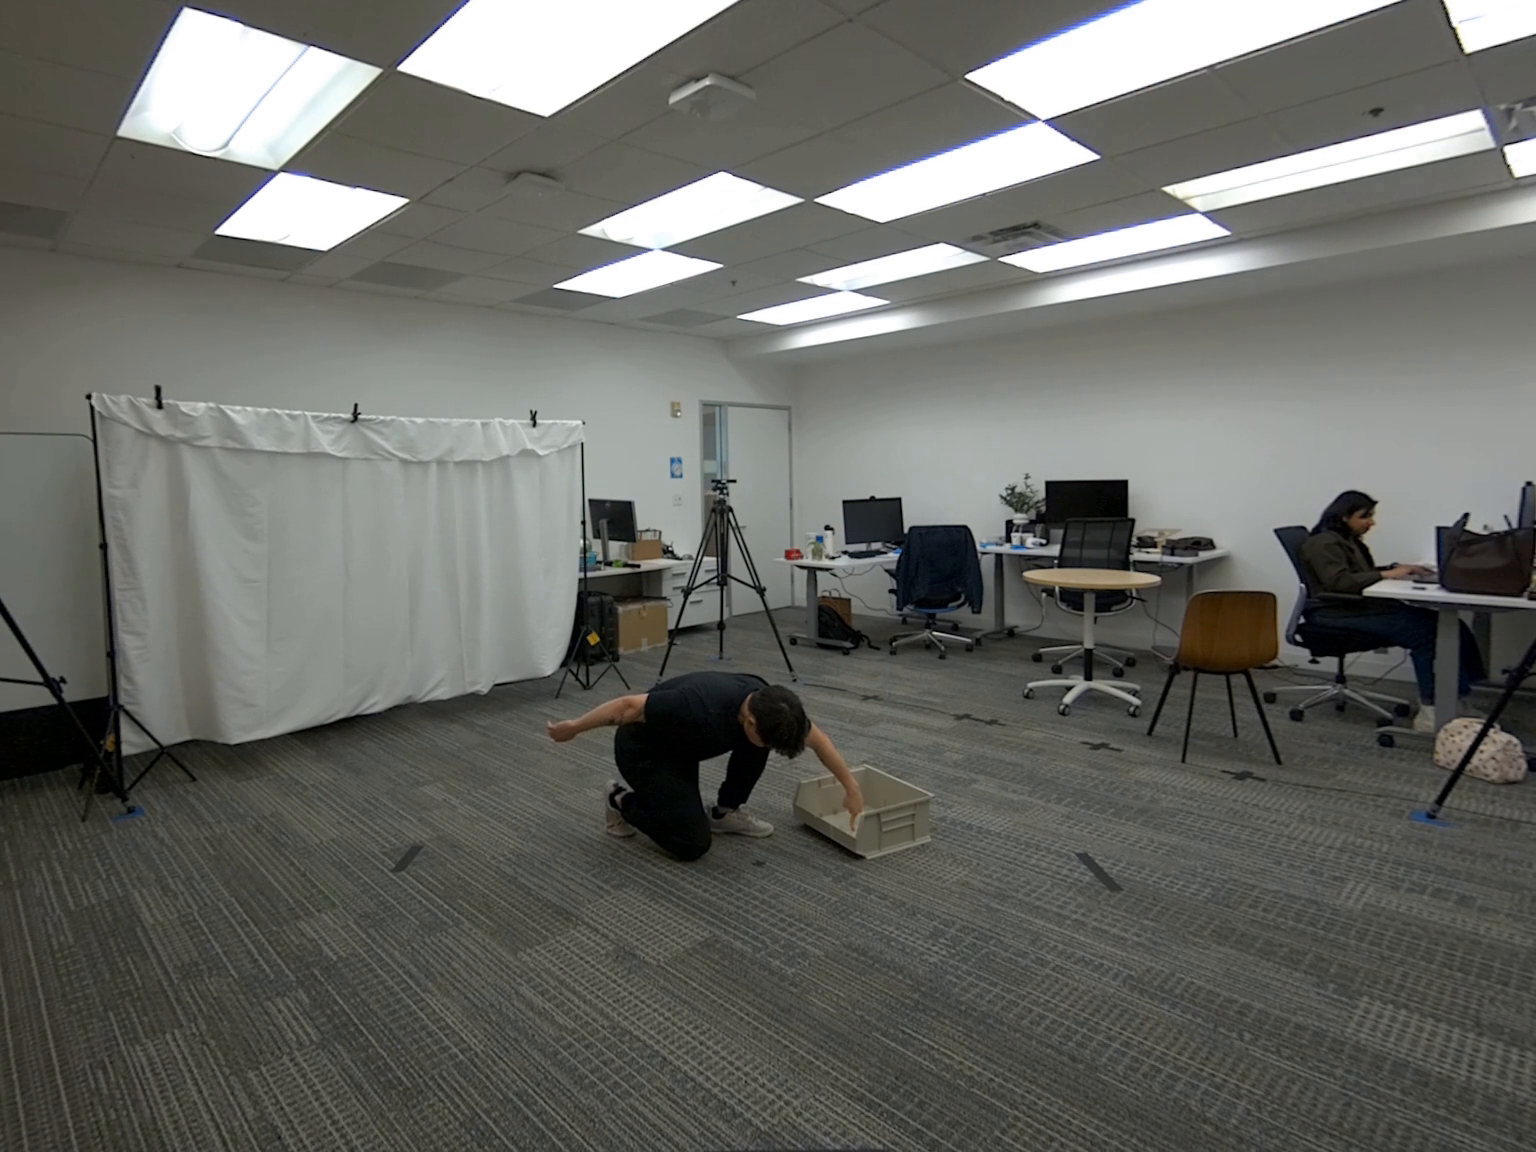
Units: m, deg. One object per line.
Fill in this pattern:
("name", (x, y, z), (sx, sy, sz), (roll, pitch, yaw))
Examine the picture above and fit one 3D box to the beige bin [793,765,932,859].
("beige bin", (0.363, 0.916, 3.356), (0.368, 0.188, 0.434), (-4, 5, -31))
